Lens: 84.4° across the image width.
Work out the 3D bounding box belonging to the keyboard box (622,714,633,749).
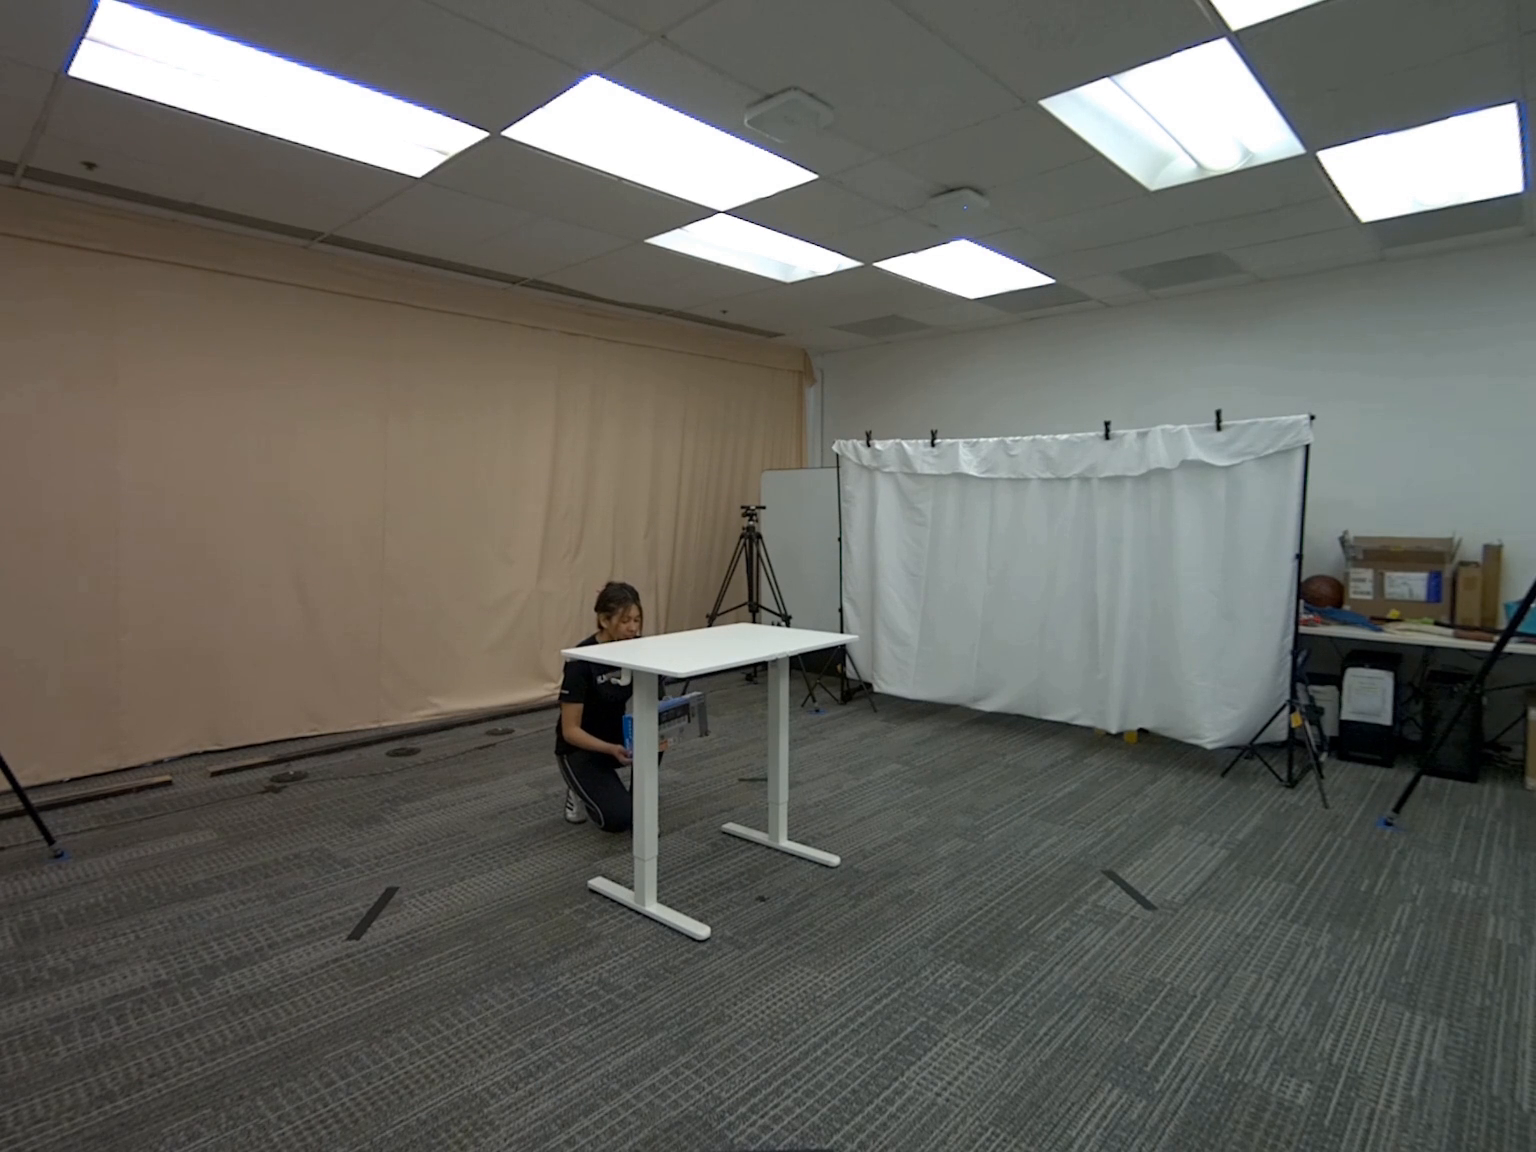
[{"bbox_3d":[-0.413,0.603,3.391,0.061,0.175,0.425,-1,5,37],"label":"keyboard box"}]
